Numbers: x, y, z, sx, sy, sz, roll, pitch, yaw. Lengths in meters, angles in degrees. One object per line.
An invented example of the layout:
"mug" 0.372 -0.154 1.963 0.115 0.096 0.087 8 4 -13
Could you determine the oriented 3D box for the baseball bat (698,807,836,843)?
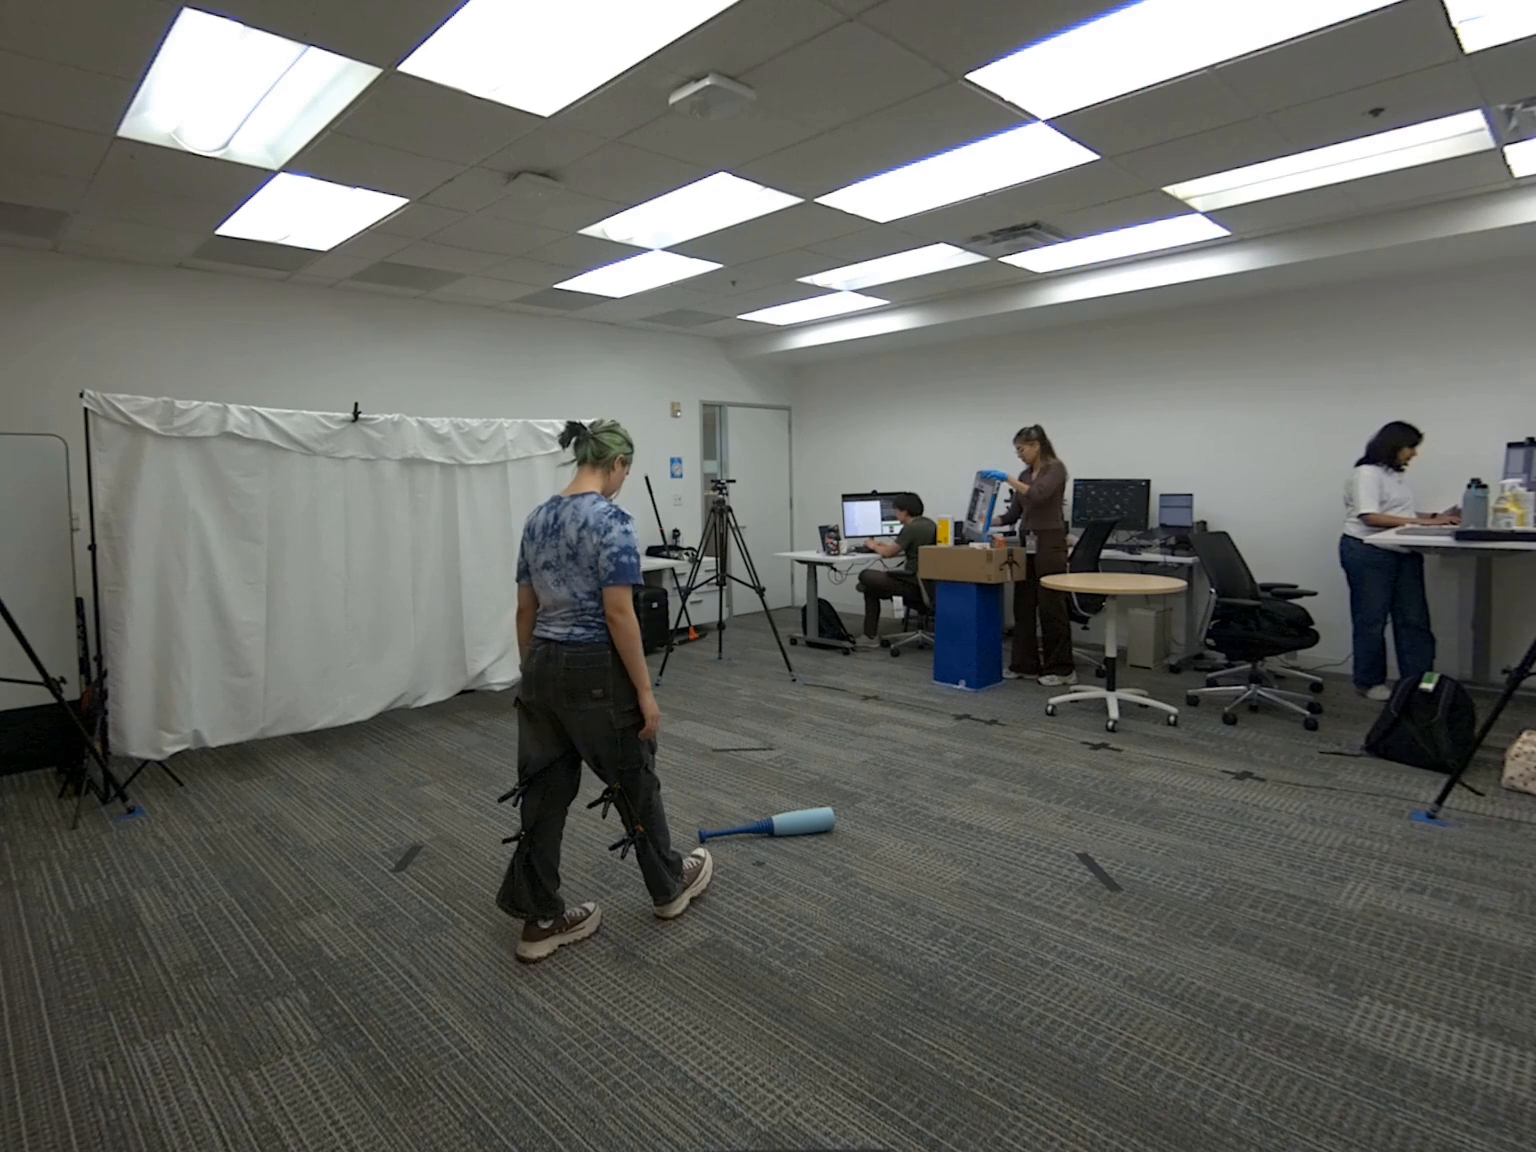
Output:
"baseball bat" -0.002 0.985 3.348 0.539 0.089 0.090 -5 5 -9
